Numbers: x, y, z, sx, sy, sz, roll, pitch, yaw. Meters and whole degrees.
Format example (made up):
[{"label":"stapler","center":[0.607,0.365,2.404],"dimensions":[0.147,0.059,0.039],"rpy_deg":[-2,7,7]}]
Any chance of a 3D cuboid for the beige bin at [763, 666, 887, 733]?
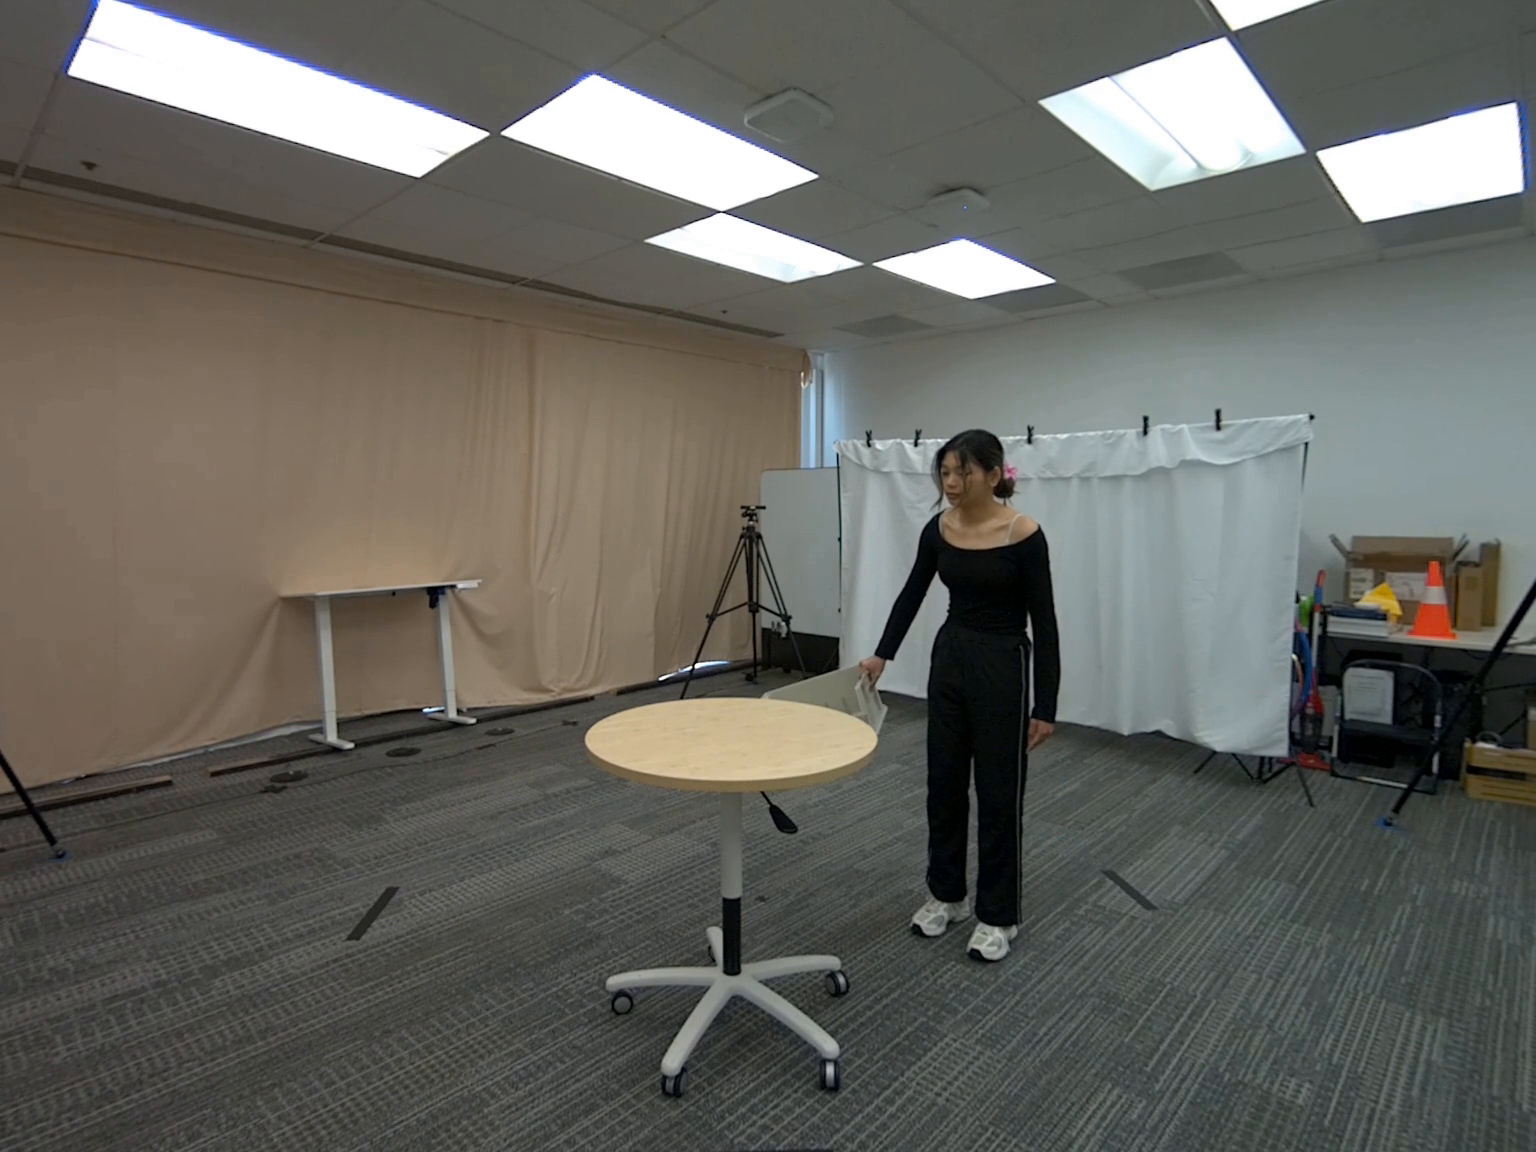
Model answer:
[{"label":"beige bin","center":[0.174,0.483,2.904],"dimensions":[0.428,0.189,0.372],"rpy_deg":[-20,0,17]}]
